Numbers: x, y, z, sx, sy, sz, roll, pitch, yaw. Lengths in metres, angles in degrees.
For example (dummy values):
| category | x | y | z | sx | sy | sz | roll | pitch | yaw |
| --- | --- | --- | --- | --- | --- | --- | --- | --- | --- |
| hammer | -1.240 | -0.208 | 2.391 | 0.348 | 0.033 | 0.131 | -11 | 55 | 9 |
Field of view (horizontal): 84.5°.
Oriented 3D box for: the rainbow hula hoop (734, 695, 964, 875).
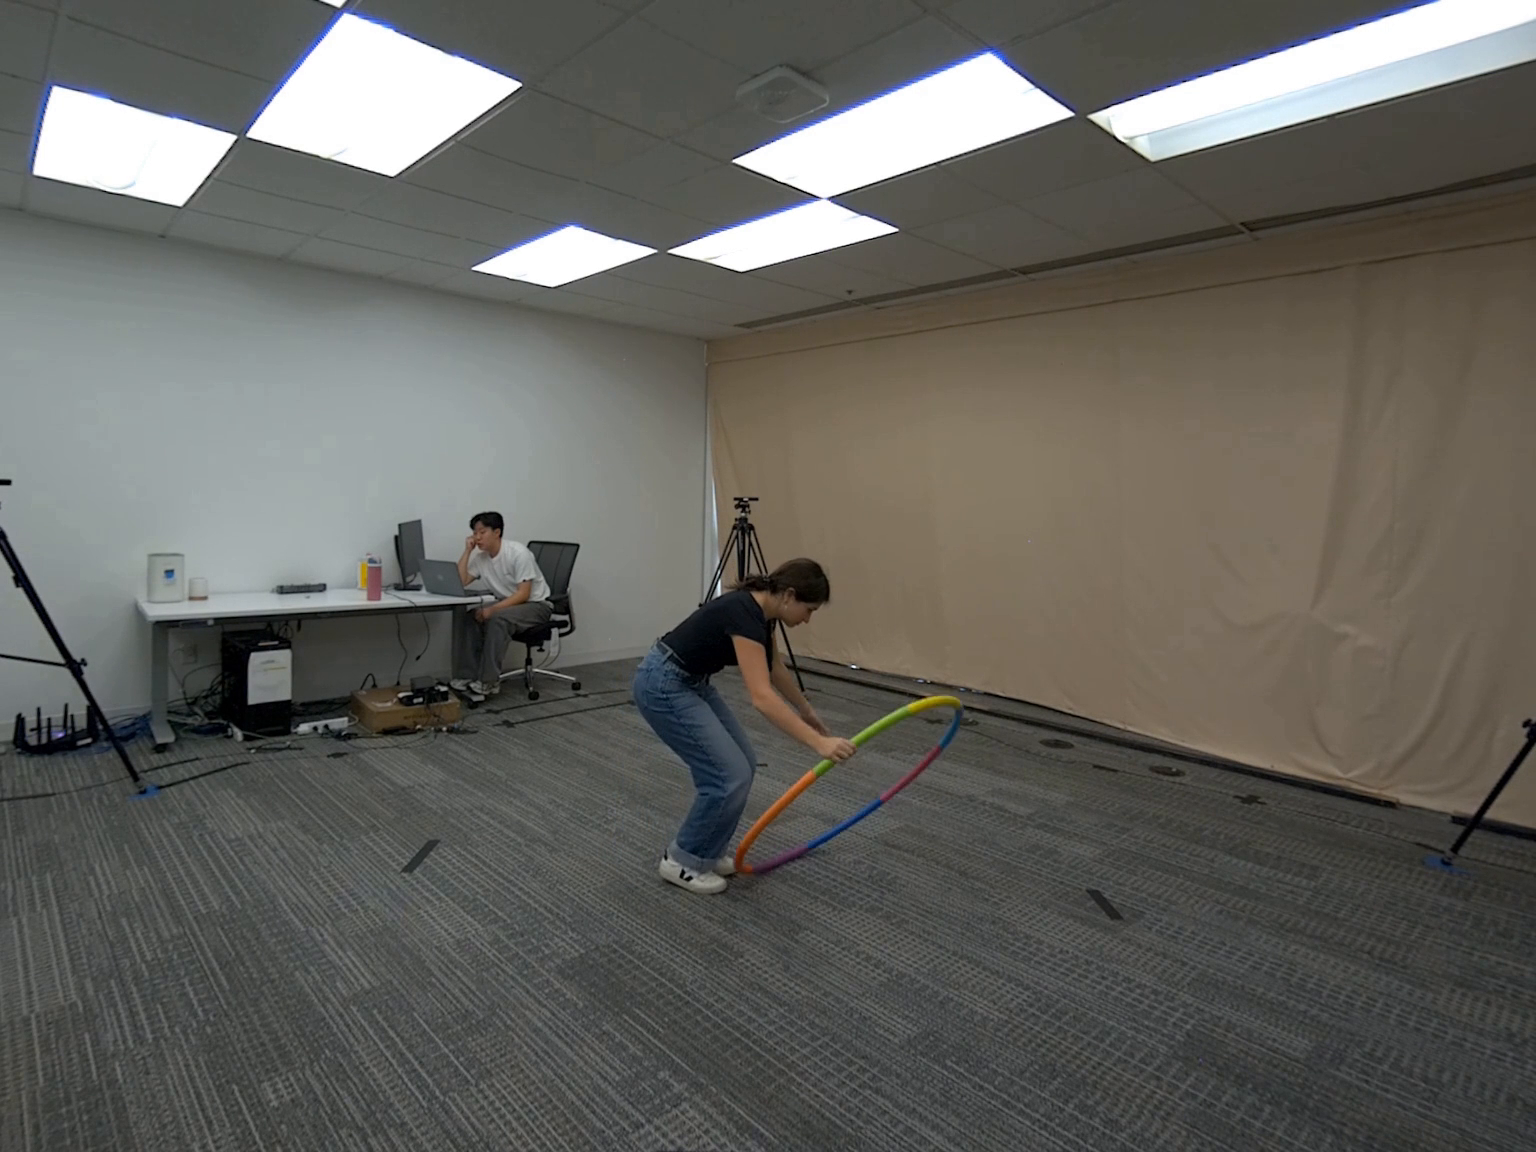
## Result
| category | x | y | z | sx | sy | sz | roll | pitch | yaw |
| --- | --- | --- | --- | --- | --- | --- | --- | --- | --- |
| rainbow hula hoop | 0.285 | 0.756 | 2.984 | 0.956 | 0.974 | 0.036 | -4 | 48 | -47 |
